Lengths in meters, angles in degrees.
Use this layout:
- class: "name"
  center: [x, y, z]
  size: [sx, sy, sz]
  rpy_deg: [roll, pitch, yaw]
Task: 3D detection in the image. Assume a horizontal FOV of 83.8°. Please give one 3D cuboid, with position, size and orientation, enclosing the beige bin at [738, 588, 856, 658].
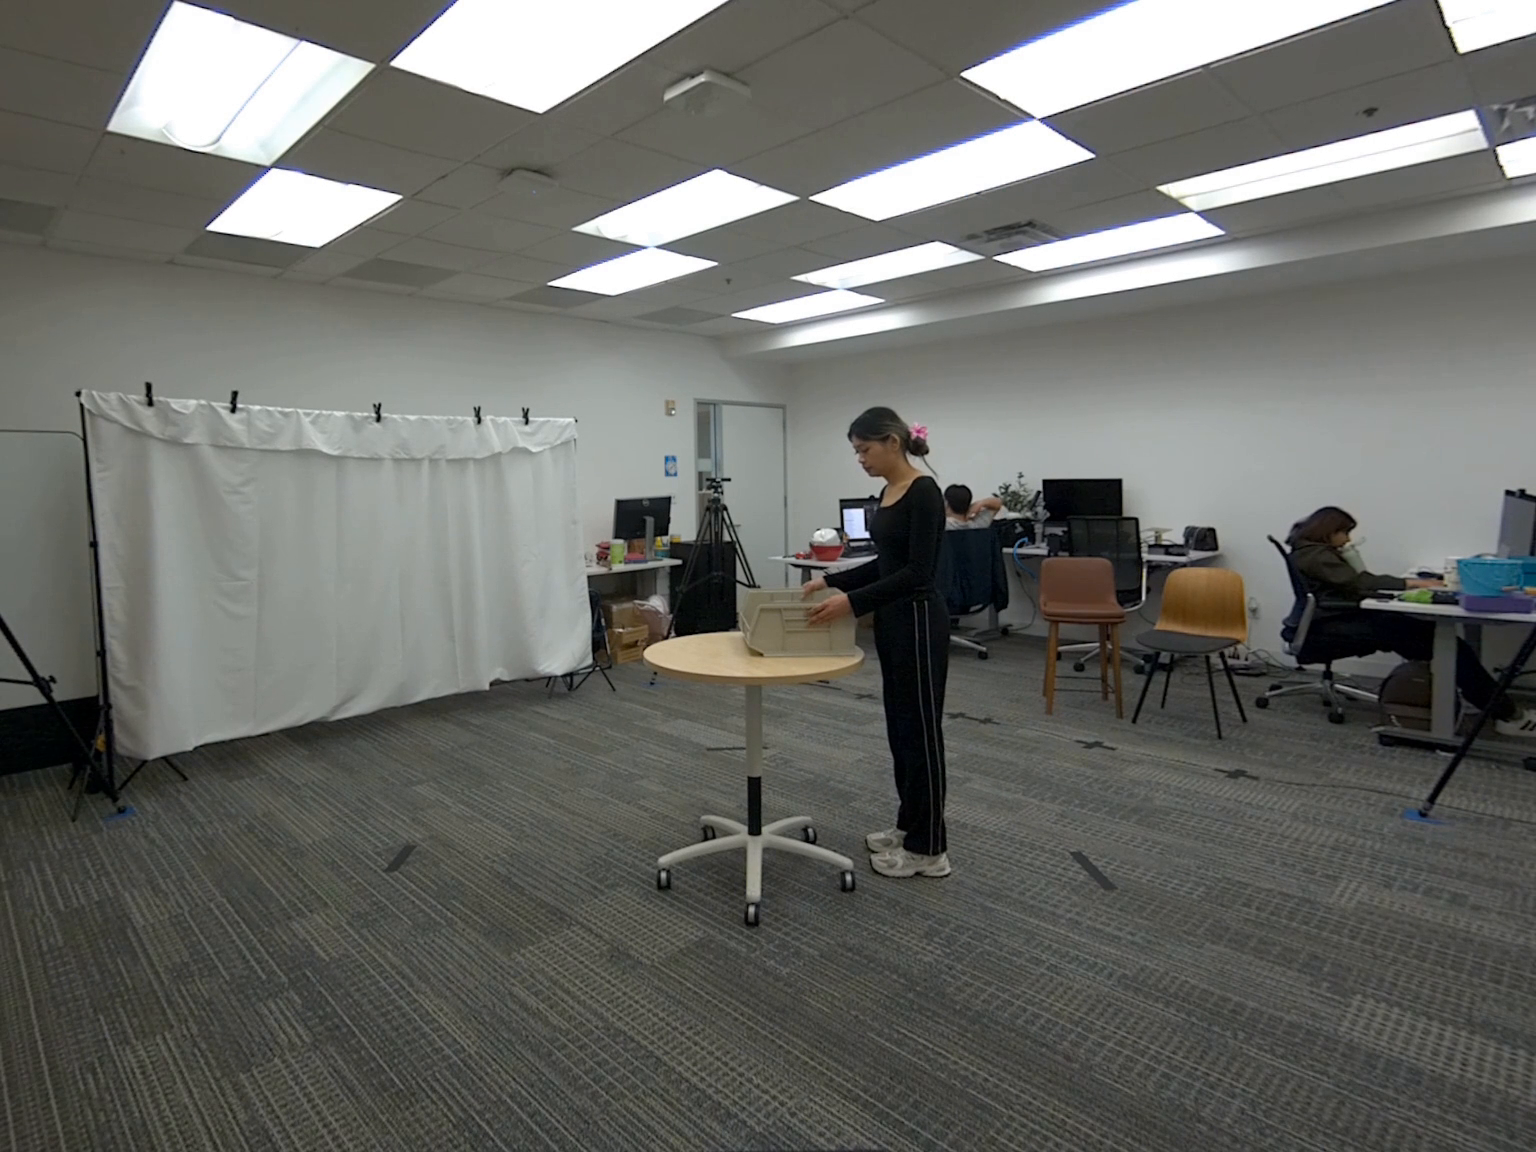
- class: "beige bin"
  center: [0.095, 0.161, 3.082]
  size: [0.376, 0.188, 0.425]
  rpy_deg: [-1, 5, -4]
